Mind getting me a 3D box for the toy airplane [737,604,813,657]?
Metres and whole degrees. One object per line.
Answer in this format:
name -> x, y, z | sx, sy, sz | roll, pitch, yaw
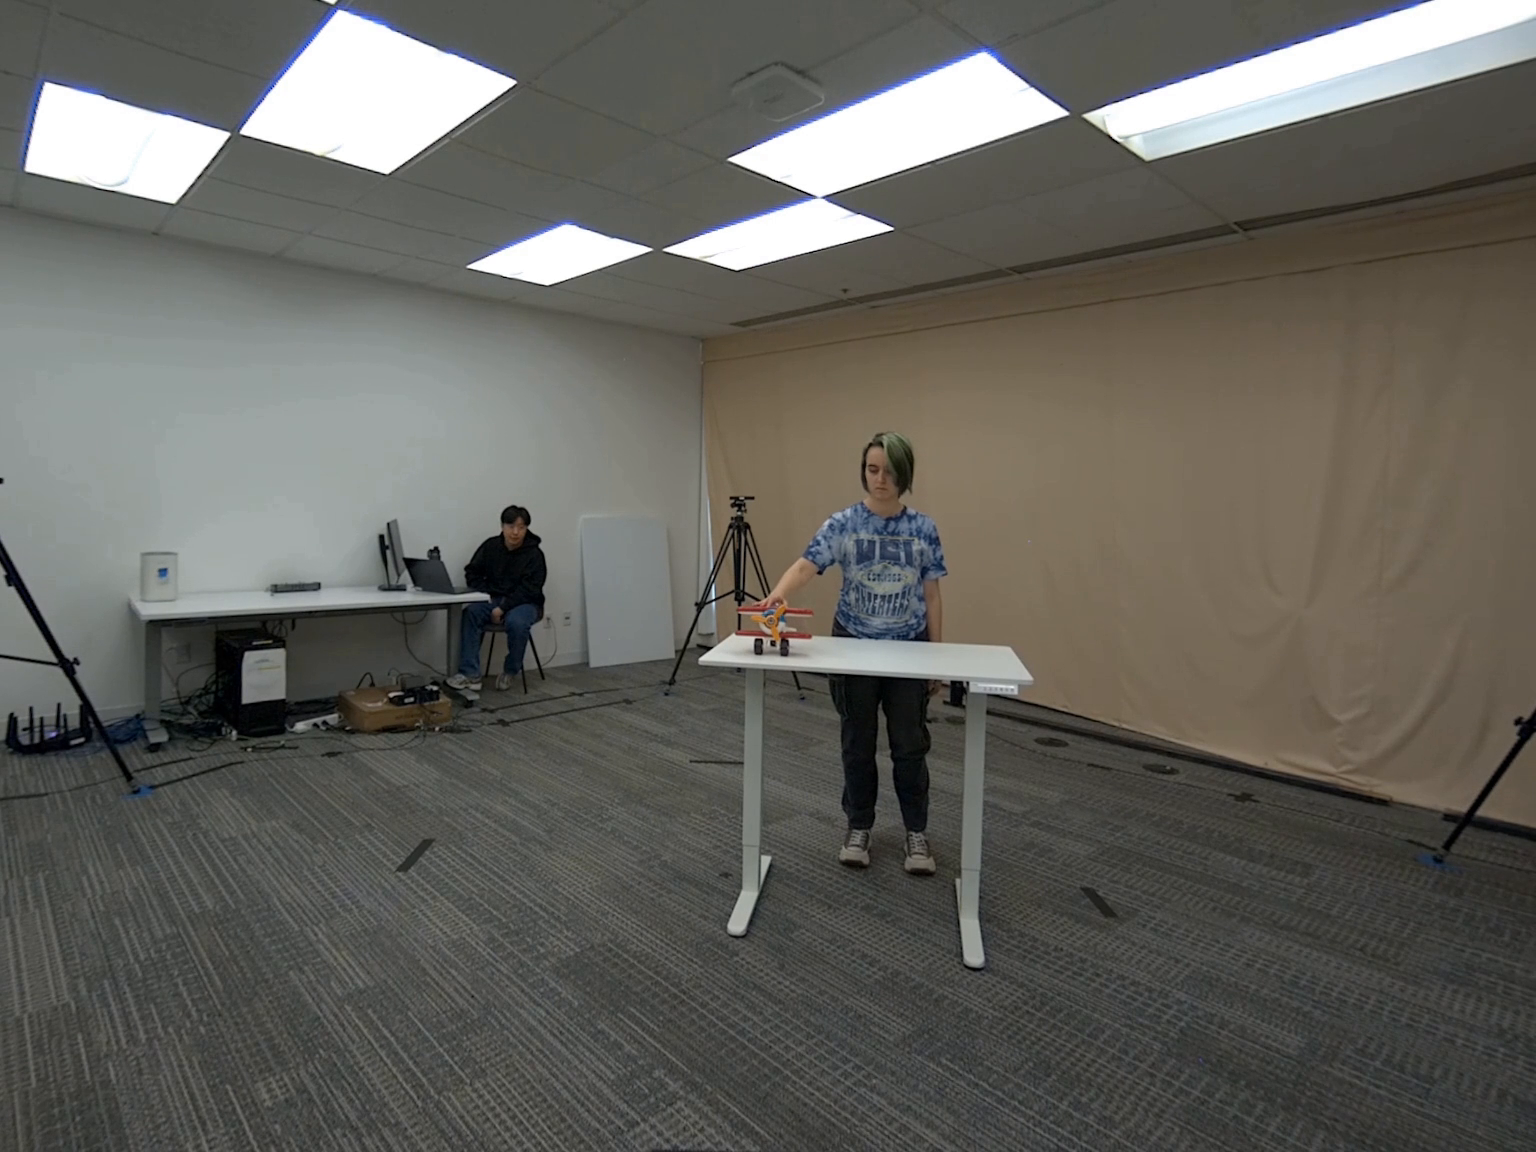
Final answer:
toy airplane -> 0.002, 0.175, 2.828 | 0.247, 0.156, 0.264 | -2, 7, -21
